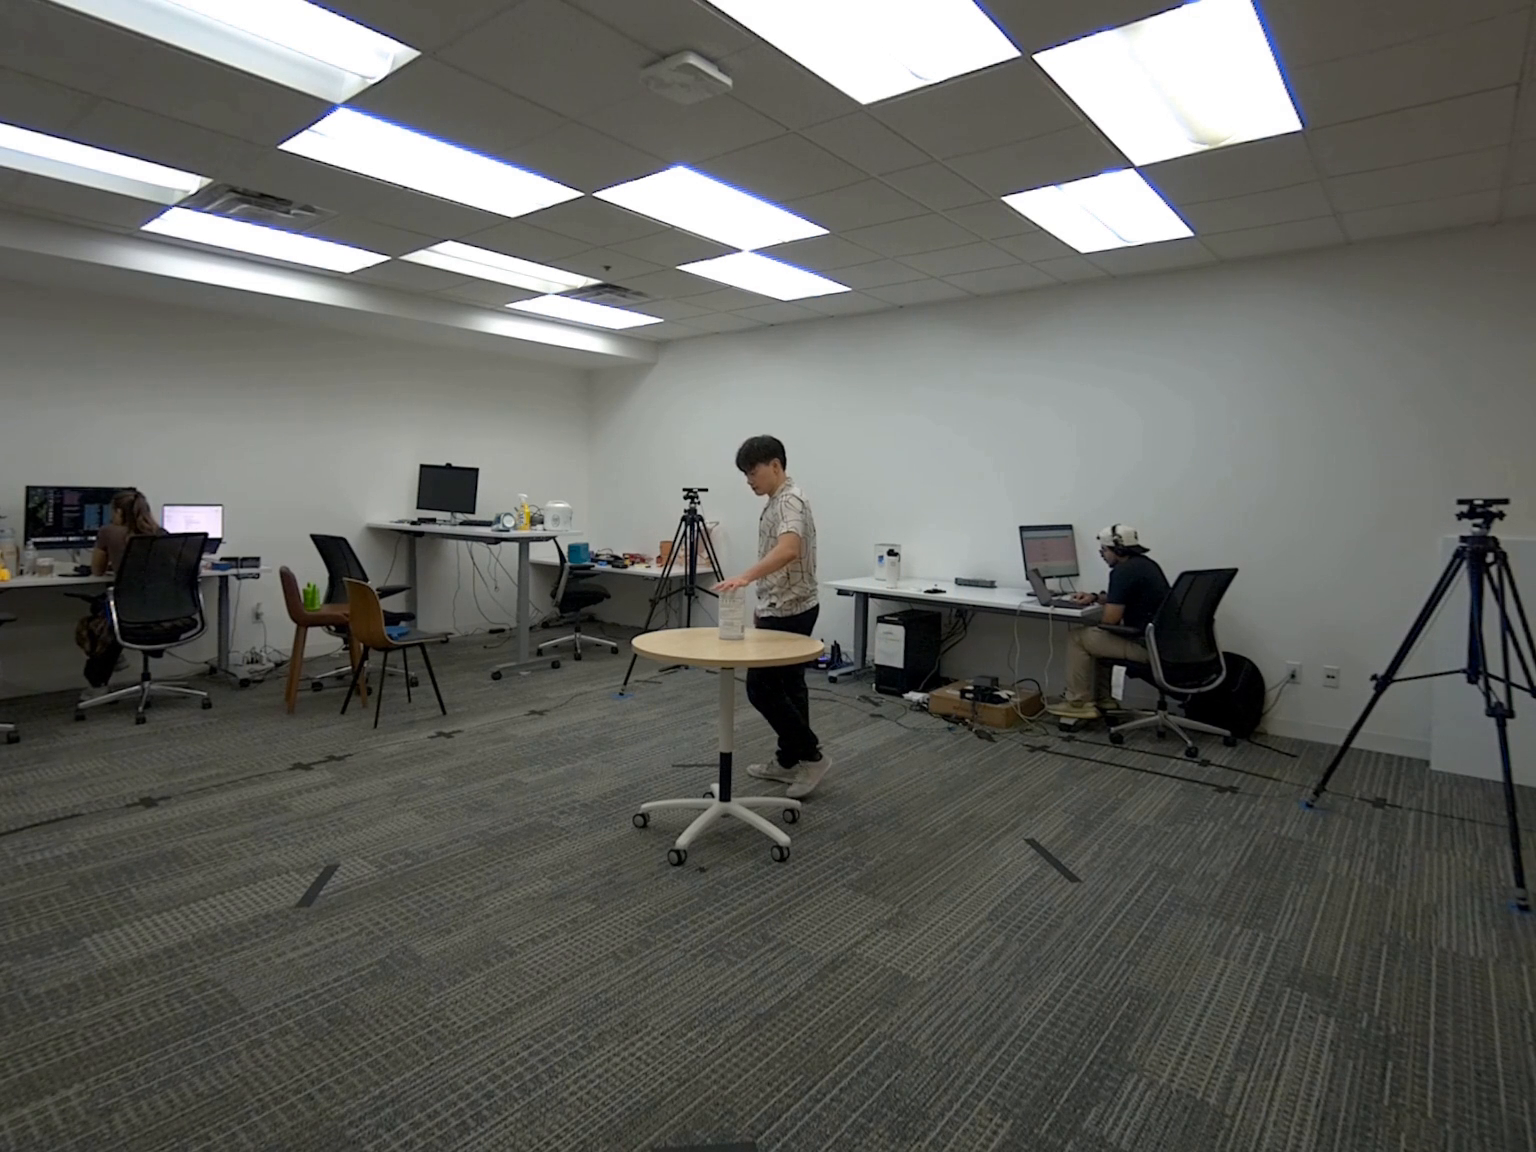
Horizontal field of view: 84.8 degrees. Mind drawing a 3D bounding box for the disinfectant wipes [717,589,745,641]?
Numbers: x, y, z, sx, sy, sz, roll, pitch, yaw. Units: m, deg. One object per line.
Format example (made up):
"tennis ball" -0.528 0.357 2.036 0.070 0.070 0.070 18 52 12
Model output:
"disinfectant wipes" -0.154 0.150 3.499 0.118 0.217 0.118 3 1 -2
